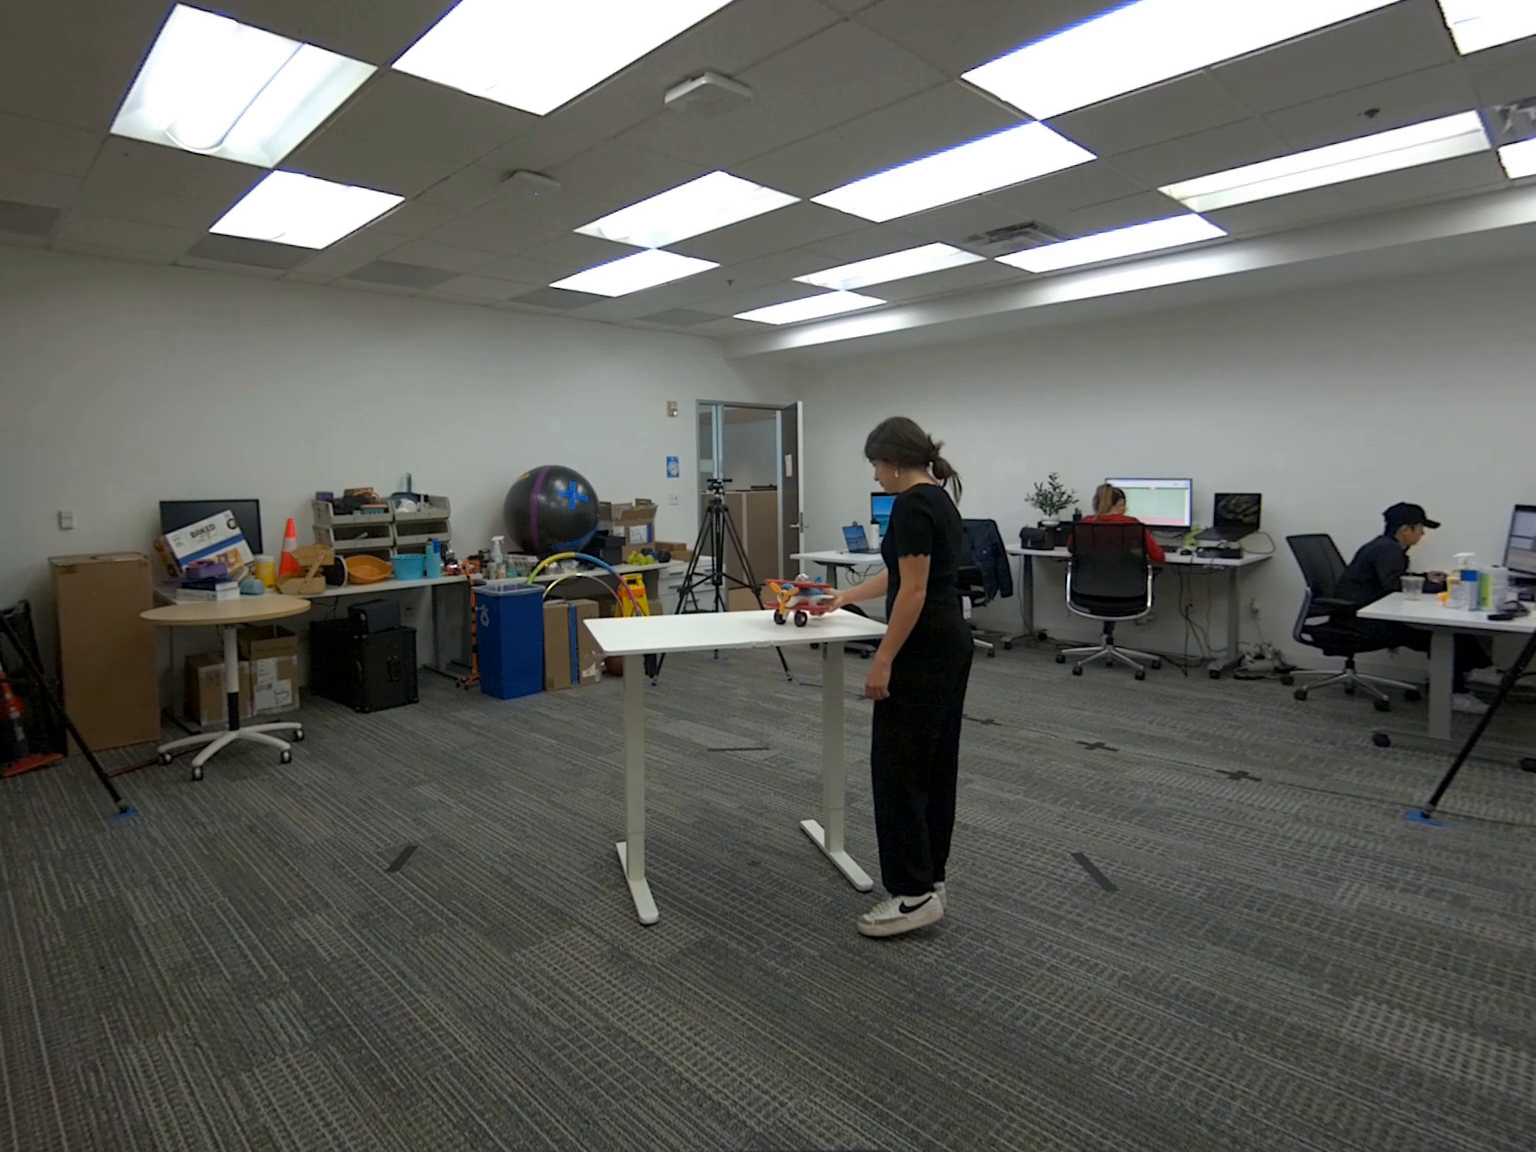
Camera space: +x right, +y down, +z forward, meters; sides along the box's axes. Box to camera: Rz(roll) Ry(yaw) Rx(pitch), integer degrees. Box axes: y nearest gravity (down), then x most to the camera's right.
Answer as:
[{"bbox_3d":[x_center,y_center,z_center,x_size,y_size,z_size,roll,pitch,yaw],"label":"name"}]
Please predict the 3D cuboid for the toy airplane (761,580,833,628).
[{"bbox_3d":[0.107,0.079,3.064,0.253,0.155,0.260,-3,13,7],"label":"toy airplane"}]
